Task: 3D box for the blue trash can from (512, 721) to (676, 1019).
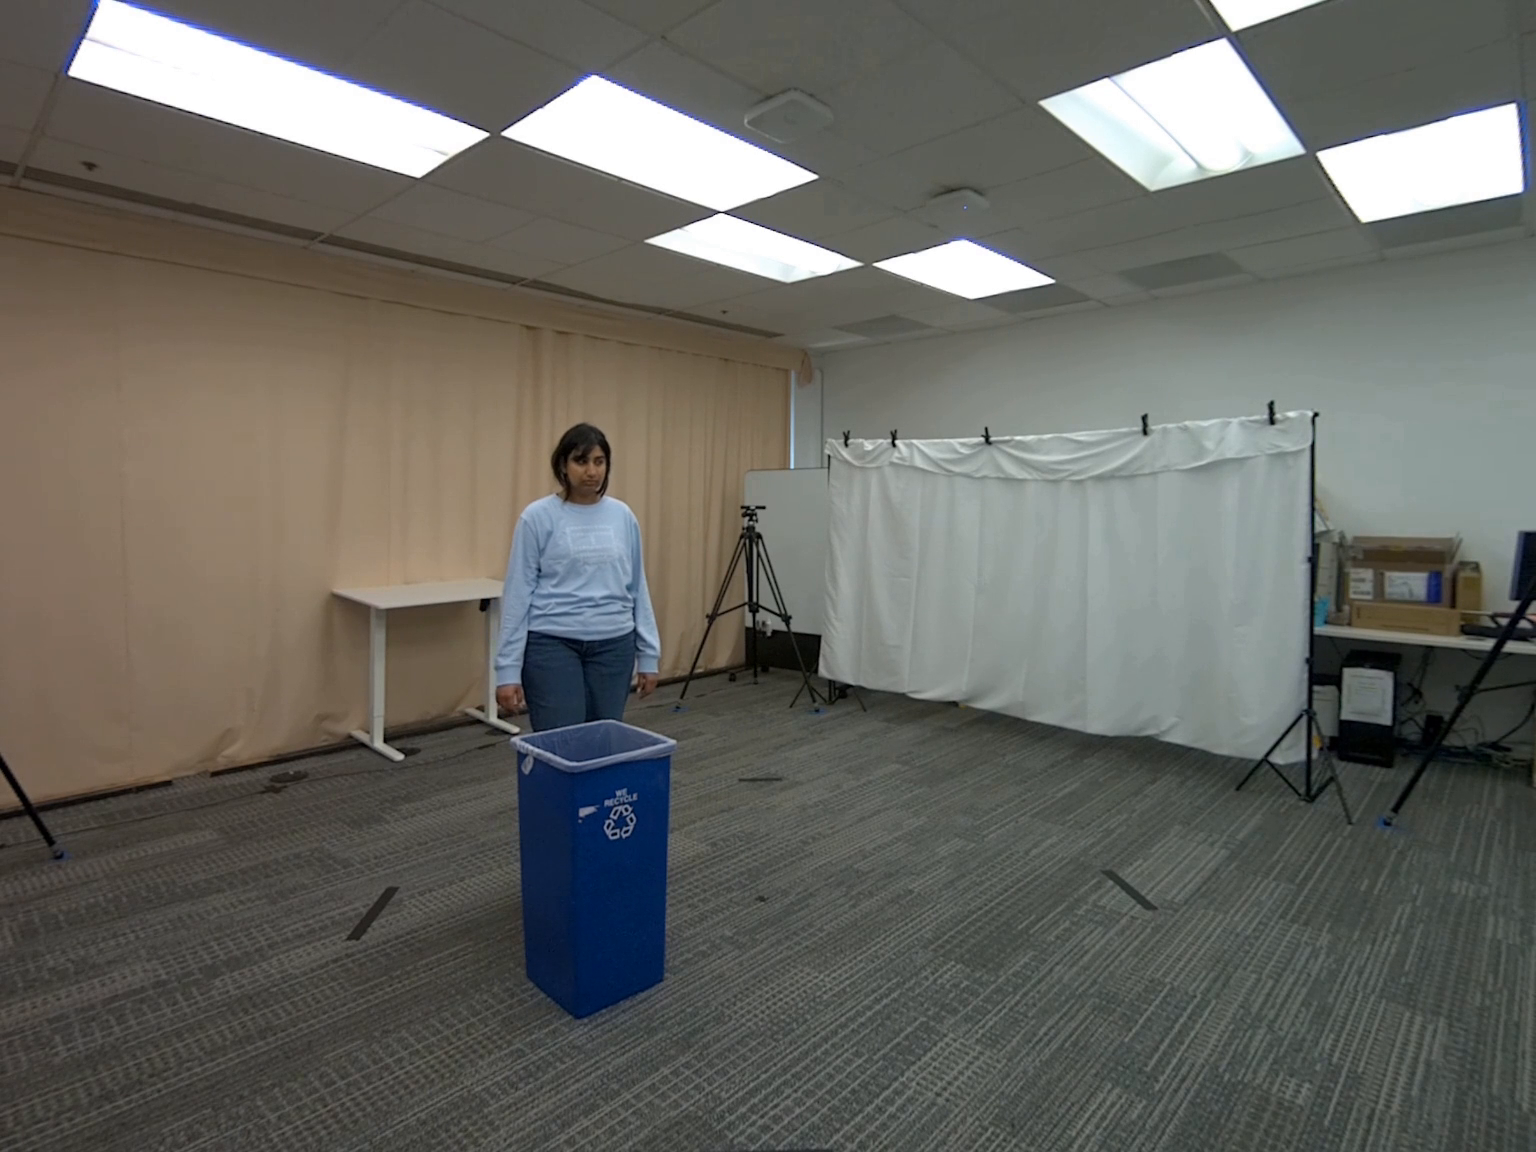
[{"bbox_3d":[-0.499,0.835,2.465,0.366,0.712,0.386,-2,3,-43],"label":"blue trash can"}]
